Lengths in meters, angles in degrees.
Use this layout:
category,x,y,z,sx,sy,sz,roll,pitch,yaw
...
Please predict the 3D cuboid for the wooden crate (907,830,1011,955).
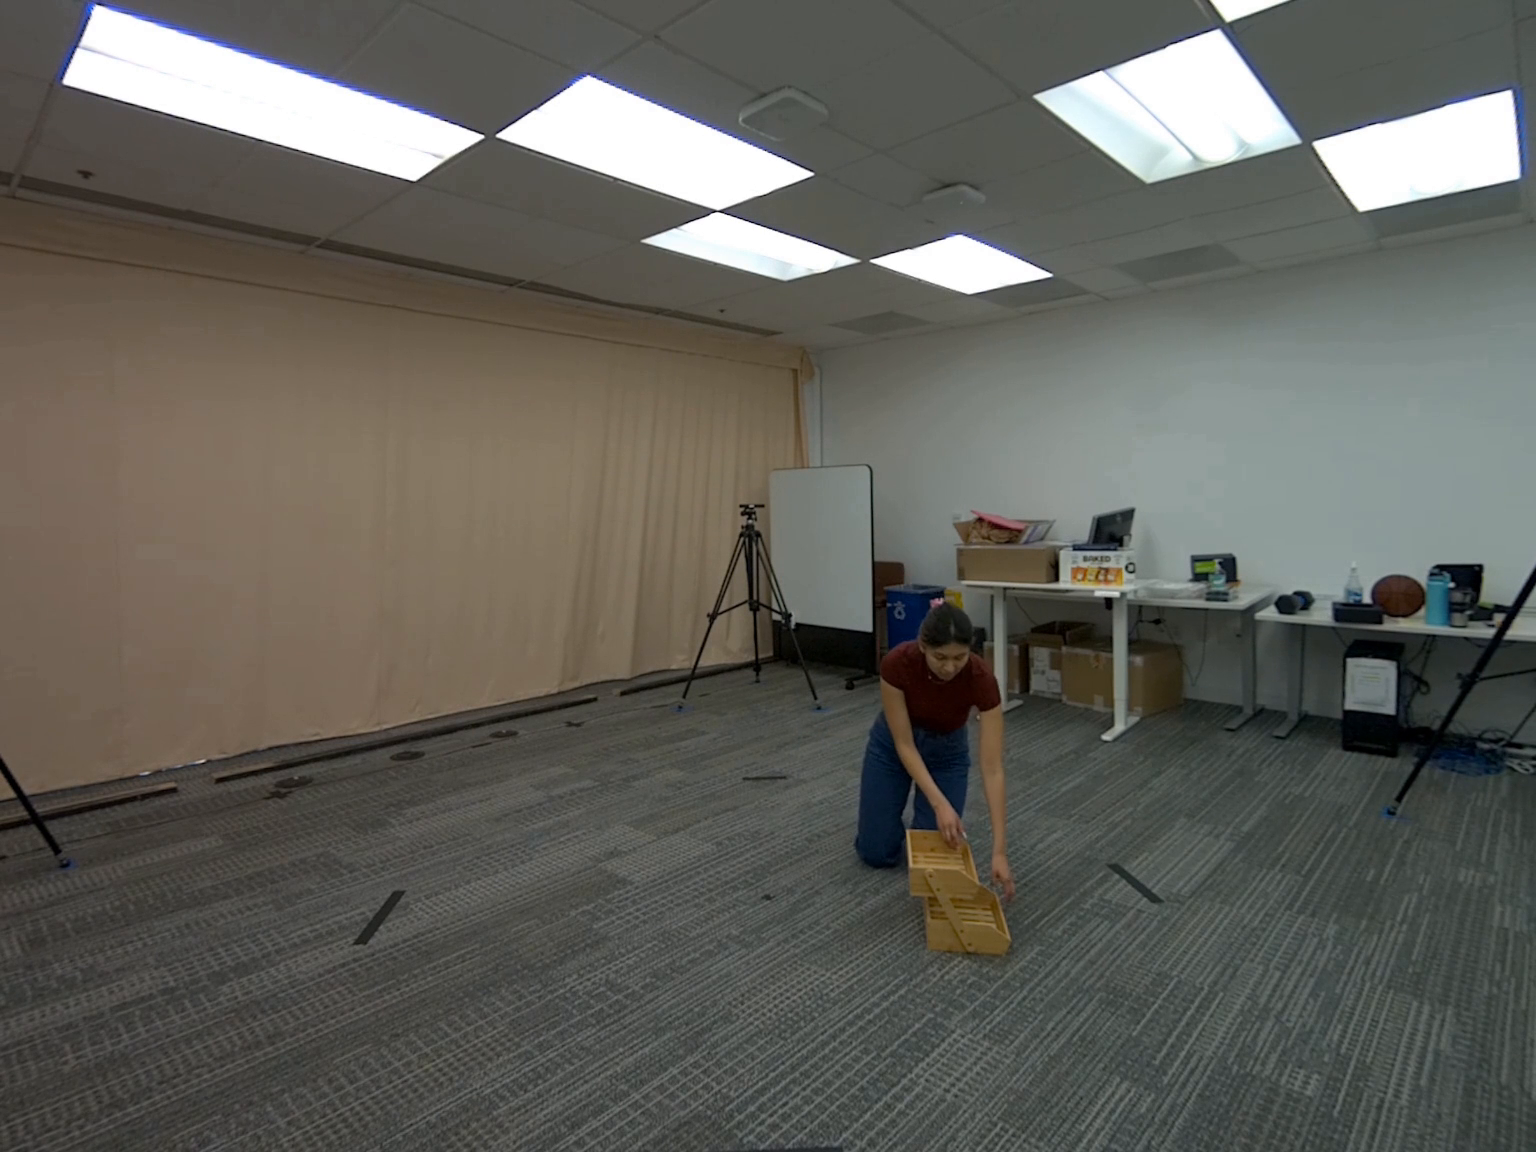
category,x,y,z,sx,sy,sz,roll,pitch,yaw
wooden crate,0.624,1.014,2.742,0.305,0.273,0.322,0,4,8
